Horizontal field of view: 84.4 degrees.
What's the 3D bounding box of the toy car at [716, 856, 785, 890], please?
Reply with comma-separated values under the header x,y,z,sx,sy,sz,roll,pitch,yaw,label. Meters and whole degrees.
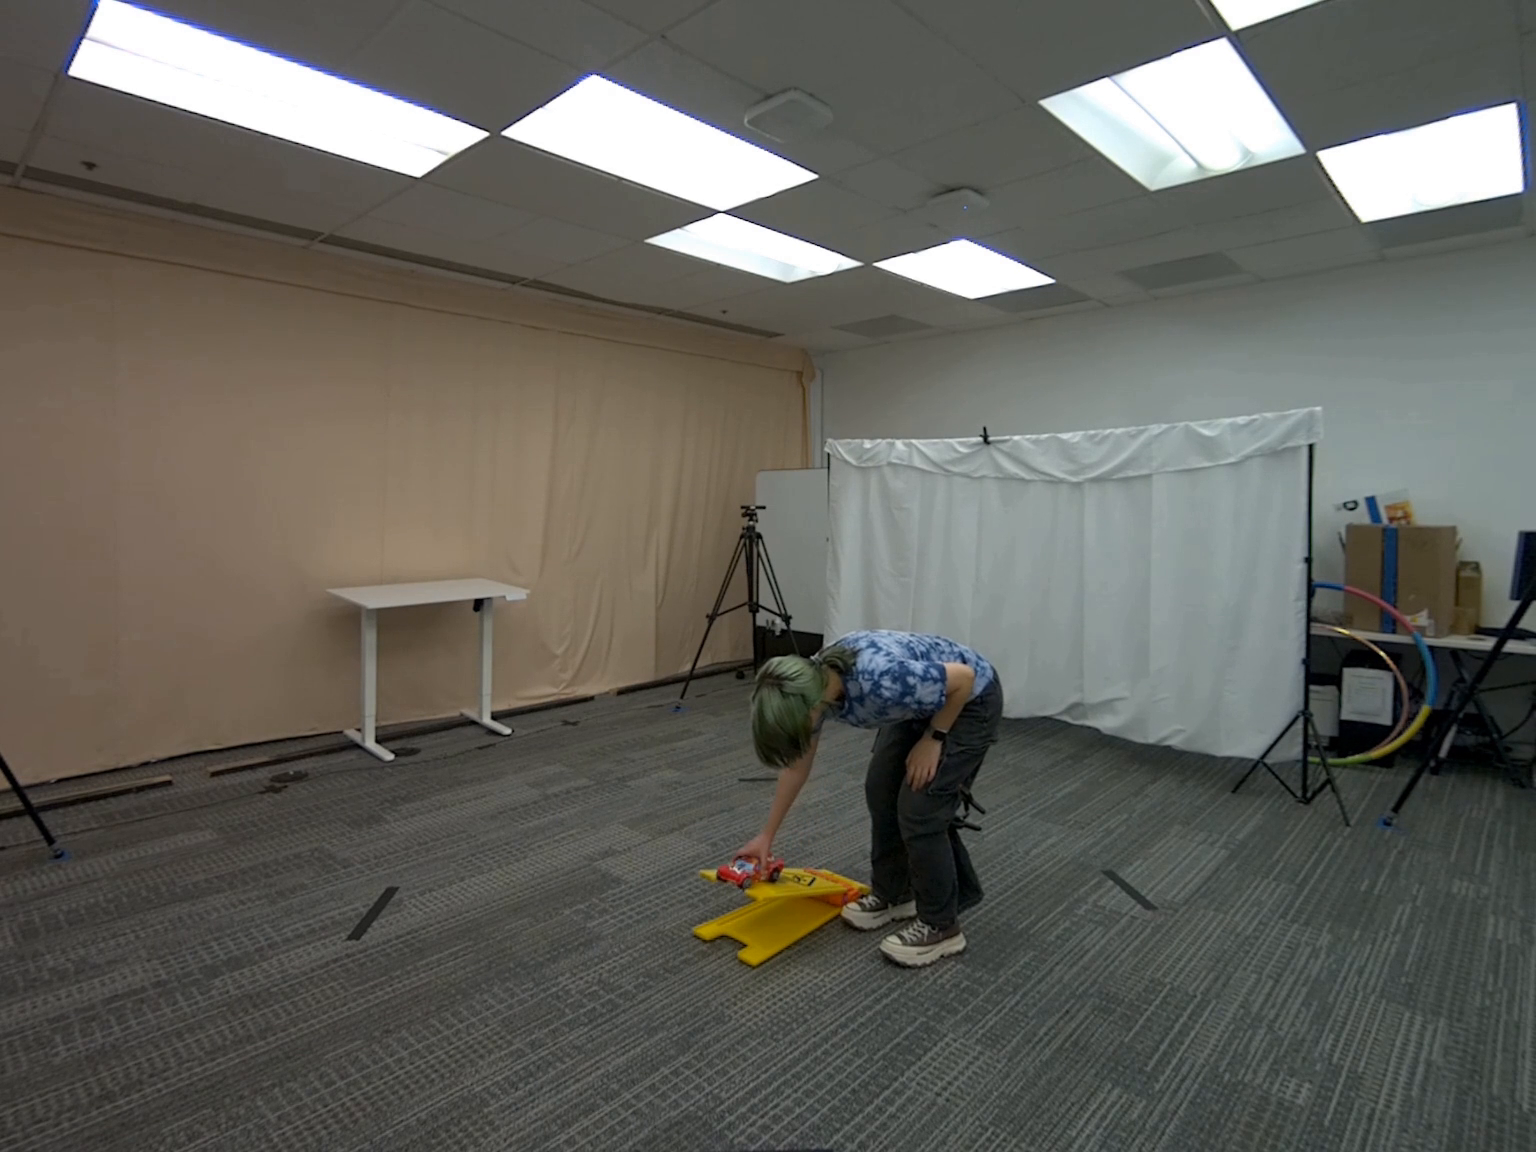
x,y,z,sx,sy,sz,roll,pitch,yaw,label
-0.040,0.960,2.721,0.134,0.083,0.247,2,4,42,toy car
